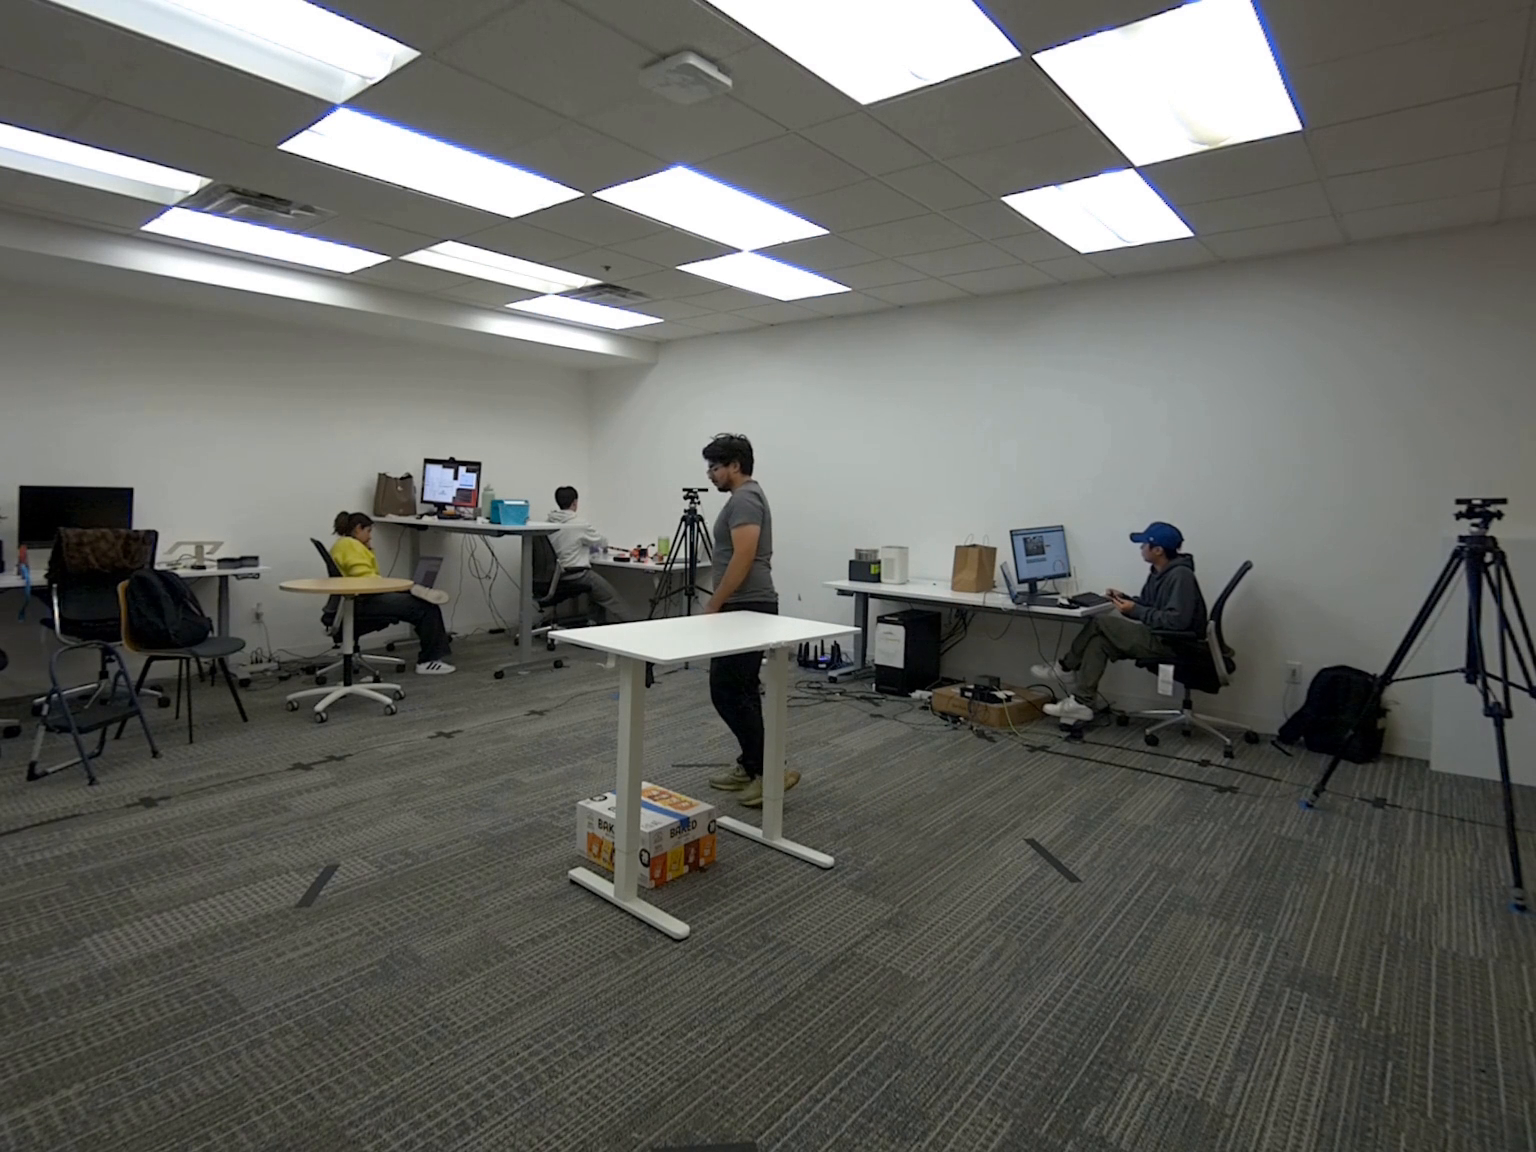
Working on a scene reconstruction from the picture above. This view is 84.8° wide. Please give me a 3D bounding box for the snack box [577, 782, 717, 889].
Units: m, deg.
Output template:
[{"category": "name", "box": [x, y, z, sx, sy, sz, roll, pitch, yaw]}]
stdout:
[{"category": "snack box", "box": [-0.469, 0.958, 3.189, 0.419, 0.205, 0.330, 5, 6, 41]}]
